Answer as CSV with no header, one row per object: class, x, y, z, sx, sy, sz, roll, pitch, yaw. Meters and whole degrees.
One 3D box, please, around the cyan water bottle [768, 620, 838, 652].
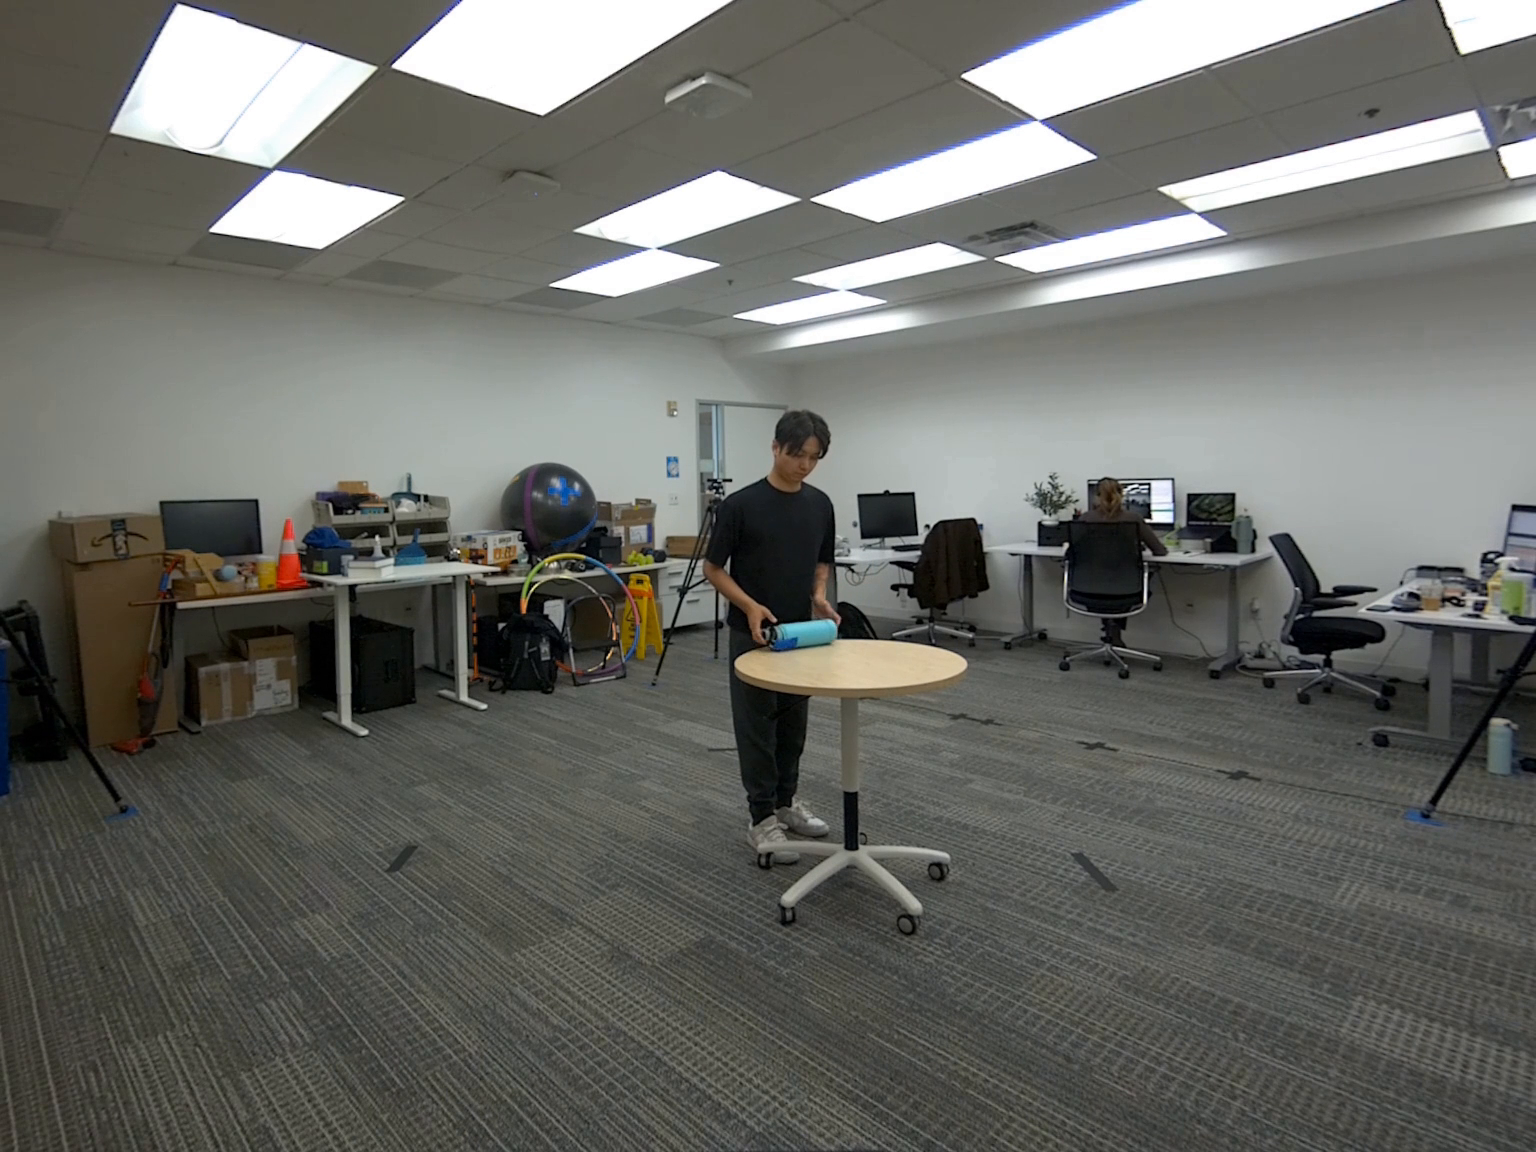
cyan water bottle,0.114,0.216,3.107,0.277,0.092,0.095,-5,6,-28
